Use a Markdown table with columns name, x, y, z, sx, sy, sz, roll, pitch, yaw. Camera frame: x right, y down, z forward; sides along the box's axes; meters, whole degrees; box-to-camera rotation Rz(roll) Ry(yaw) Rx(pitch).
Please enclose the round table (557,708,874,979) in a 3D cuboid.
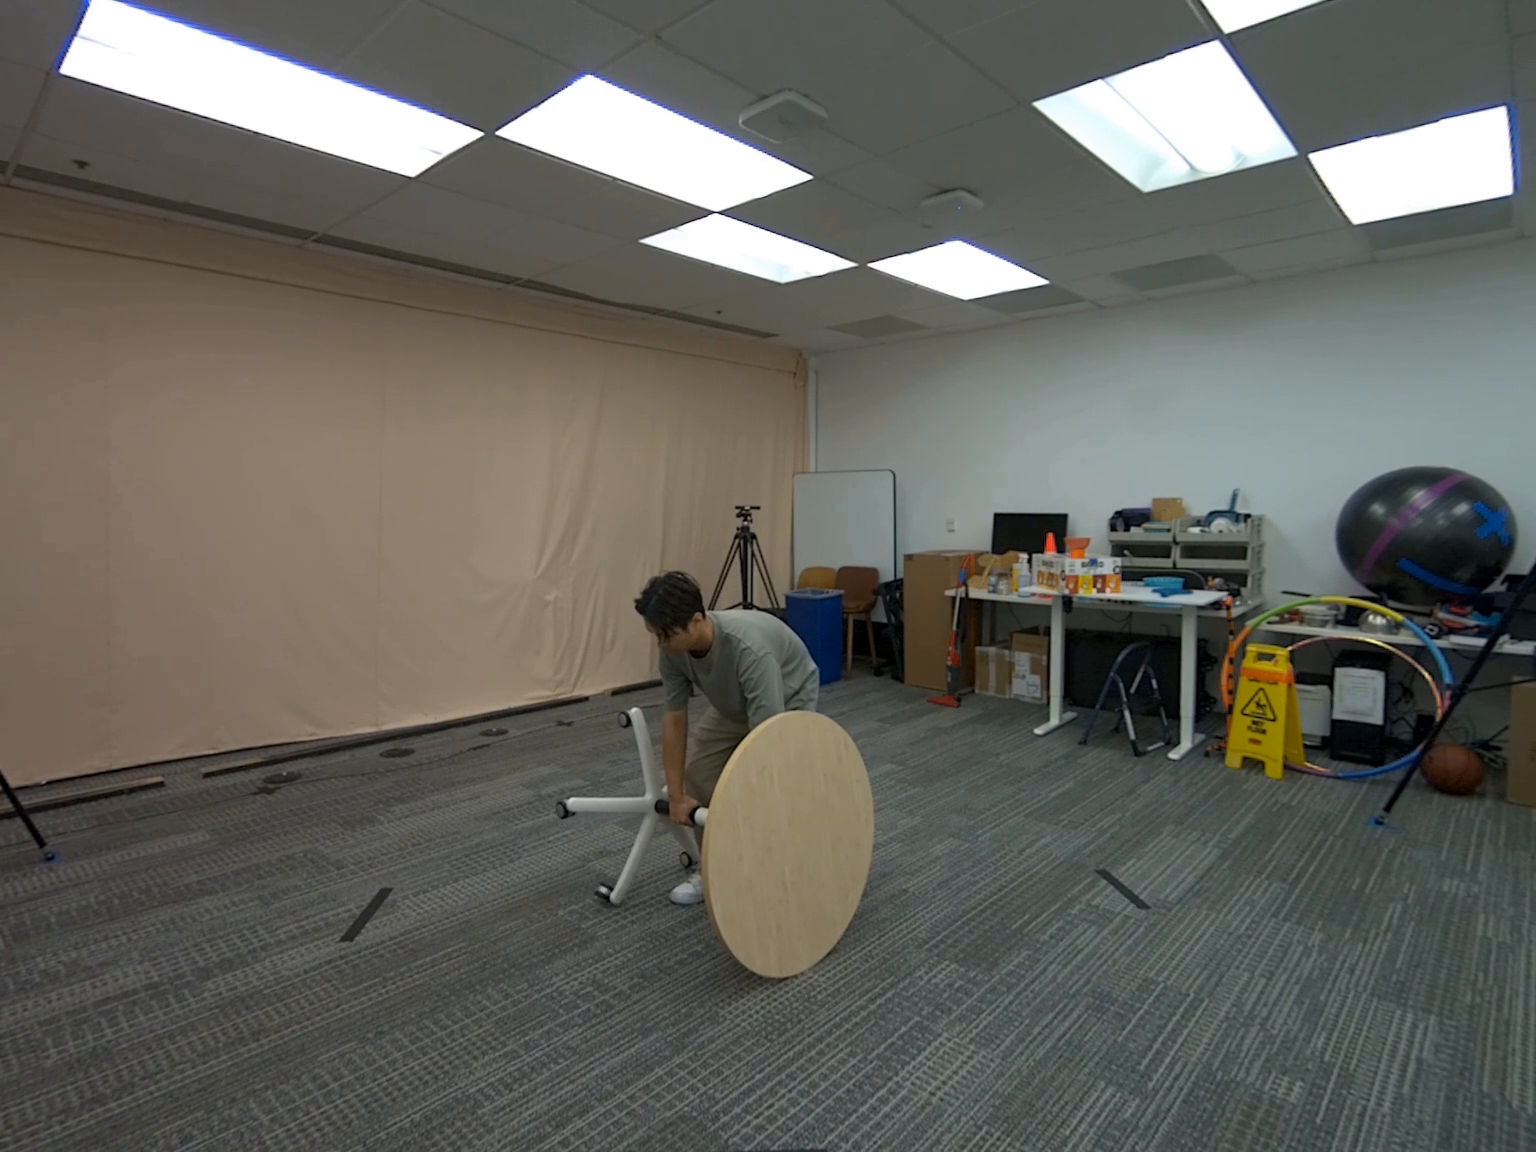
| name | x | y | z | sx | sy | sz | roll | pitch | yaw |
| --- | --- | --- | --- | --- | --- | --- | --- | --- | --- |
| round table | -0.201 | 0.813 | 2.816 | 0.811 | 0.785 | 0.761 | -4 | 0 | 43 |
